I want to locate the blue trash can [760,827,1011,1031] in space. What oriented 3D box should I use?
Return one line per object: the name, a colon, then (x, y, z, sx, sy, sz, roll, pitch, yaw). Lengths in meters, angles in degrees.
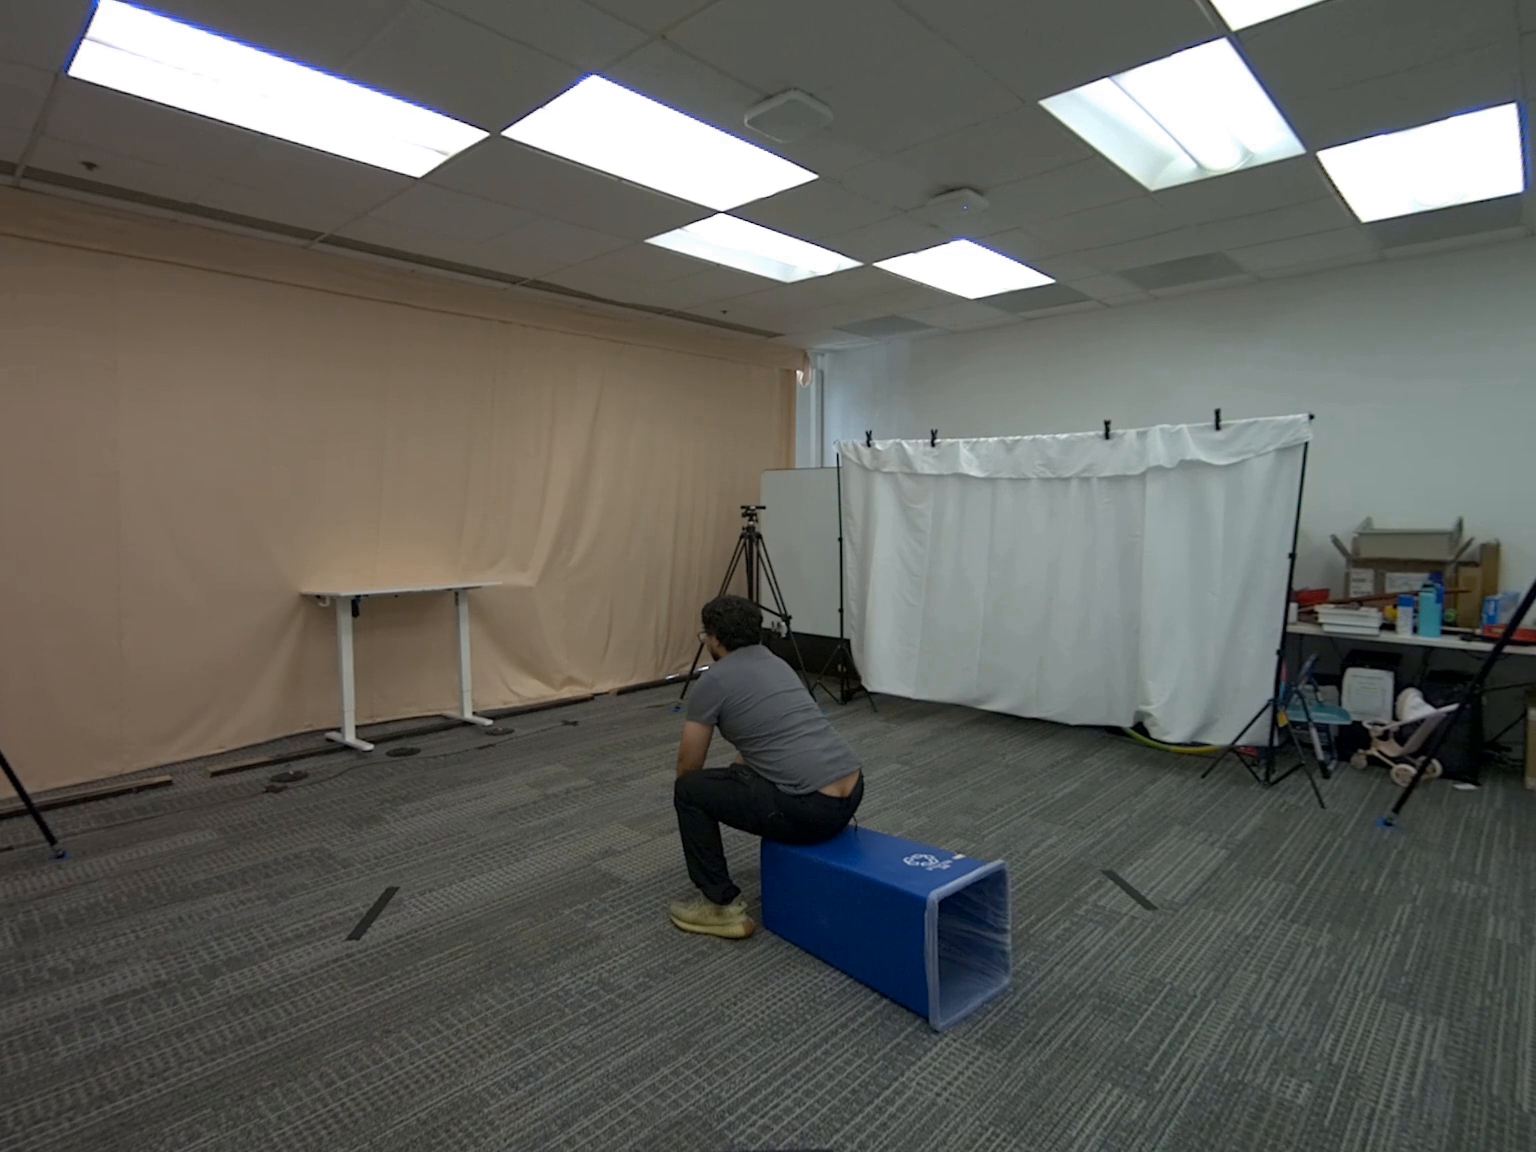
blue trash can: (0.337, 1.001, 2.587, 0.366, 0.373, 0.737, -3, 4, -42)
